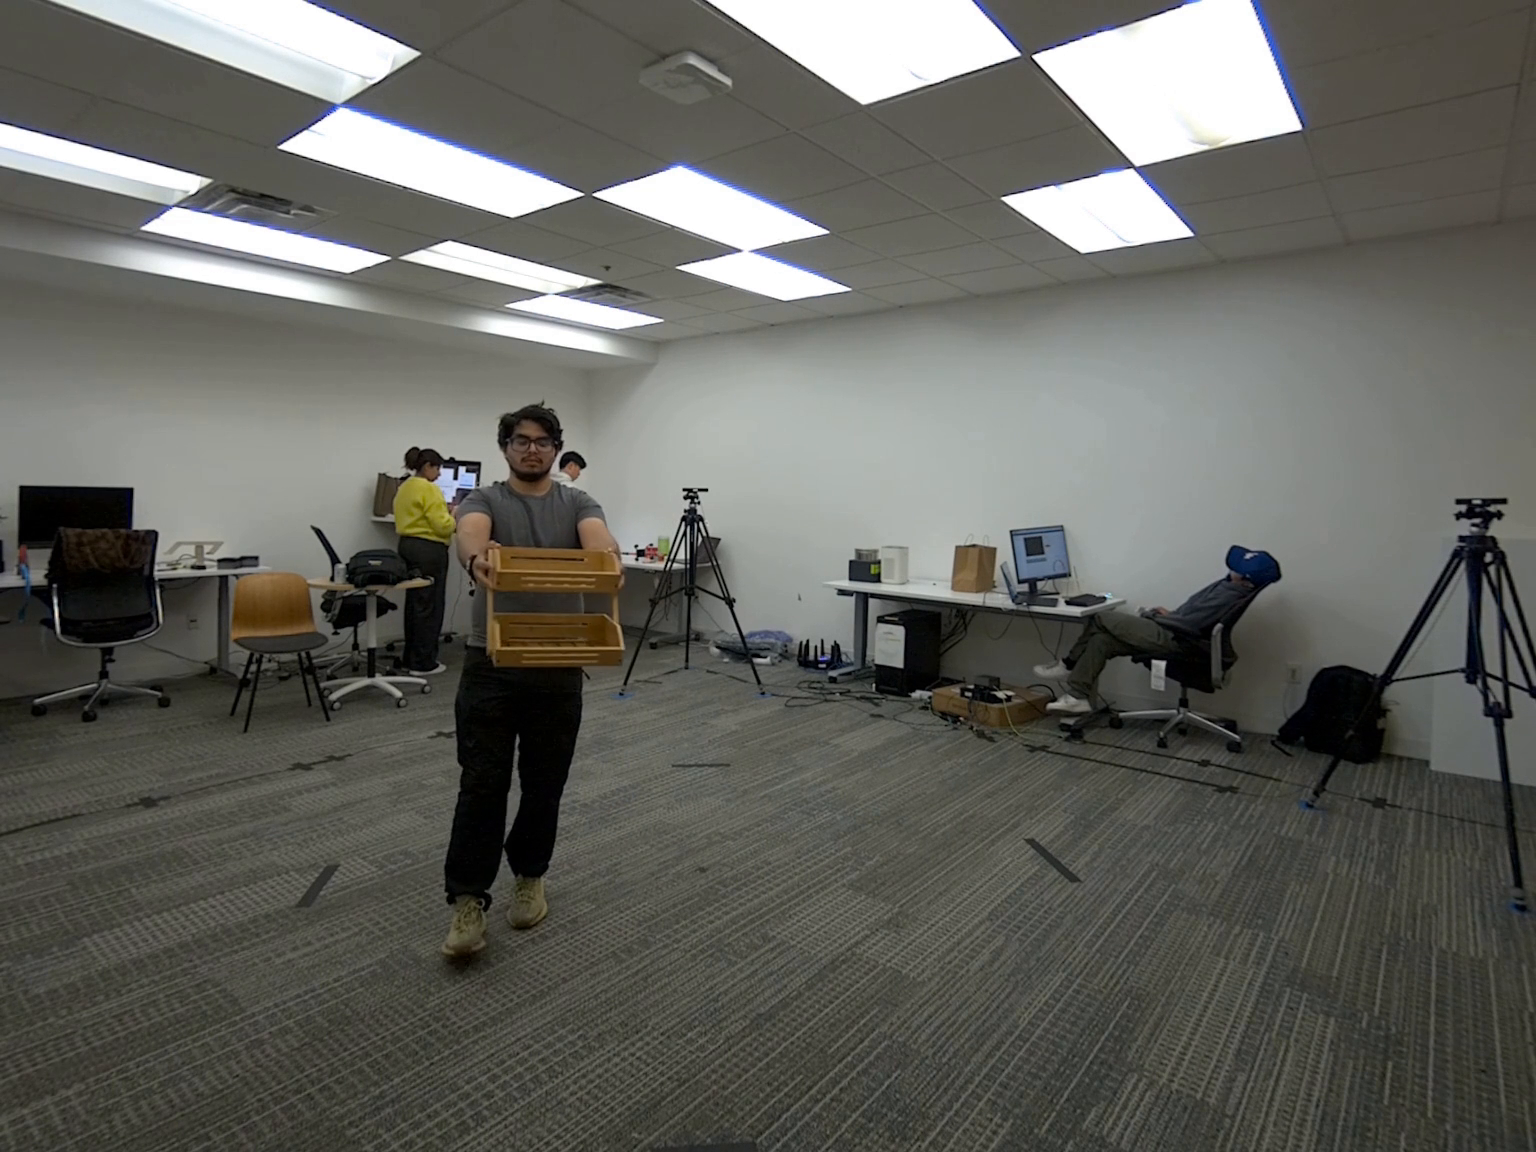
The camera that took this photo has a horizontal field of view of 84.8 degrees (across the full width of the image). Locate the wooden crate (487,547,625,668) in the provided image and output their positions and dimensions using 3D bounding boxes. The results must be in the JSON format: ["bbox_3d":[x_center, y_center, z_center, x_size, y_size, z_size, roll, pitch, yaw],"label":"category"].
[{"bbox_3d":[-0.540,0.068,2.132,0.317,0.273,0.309,2,3,-21],"label":"wooden crate"}]
